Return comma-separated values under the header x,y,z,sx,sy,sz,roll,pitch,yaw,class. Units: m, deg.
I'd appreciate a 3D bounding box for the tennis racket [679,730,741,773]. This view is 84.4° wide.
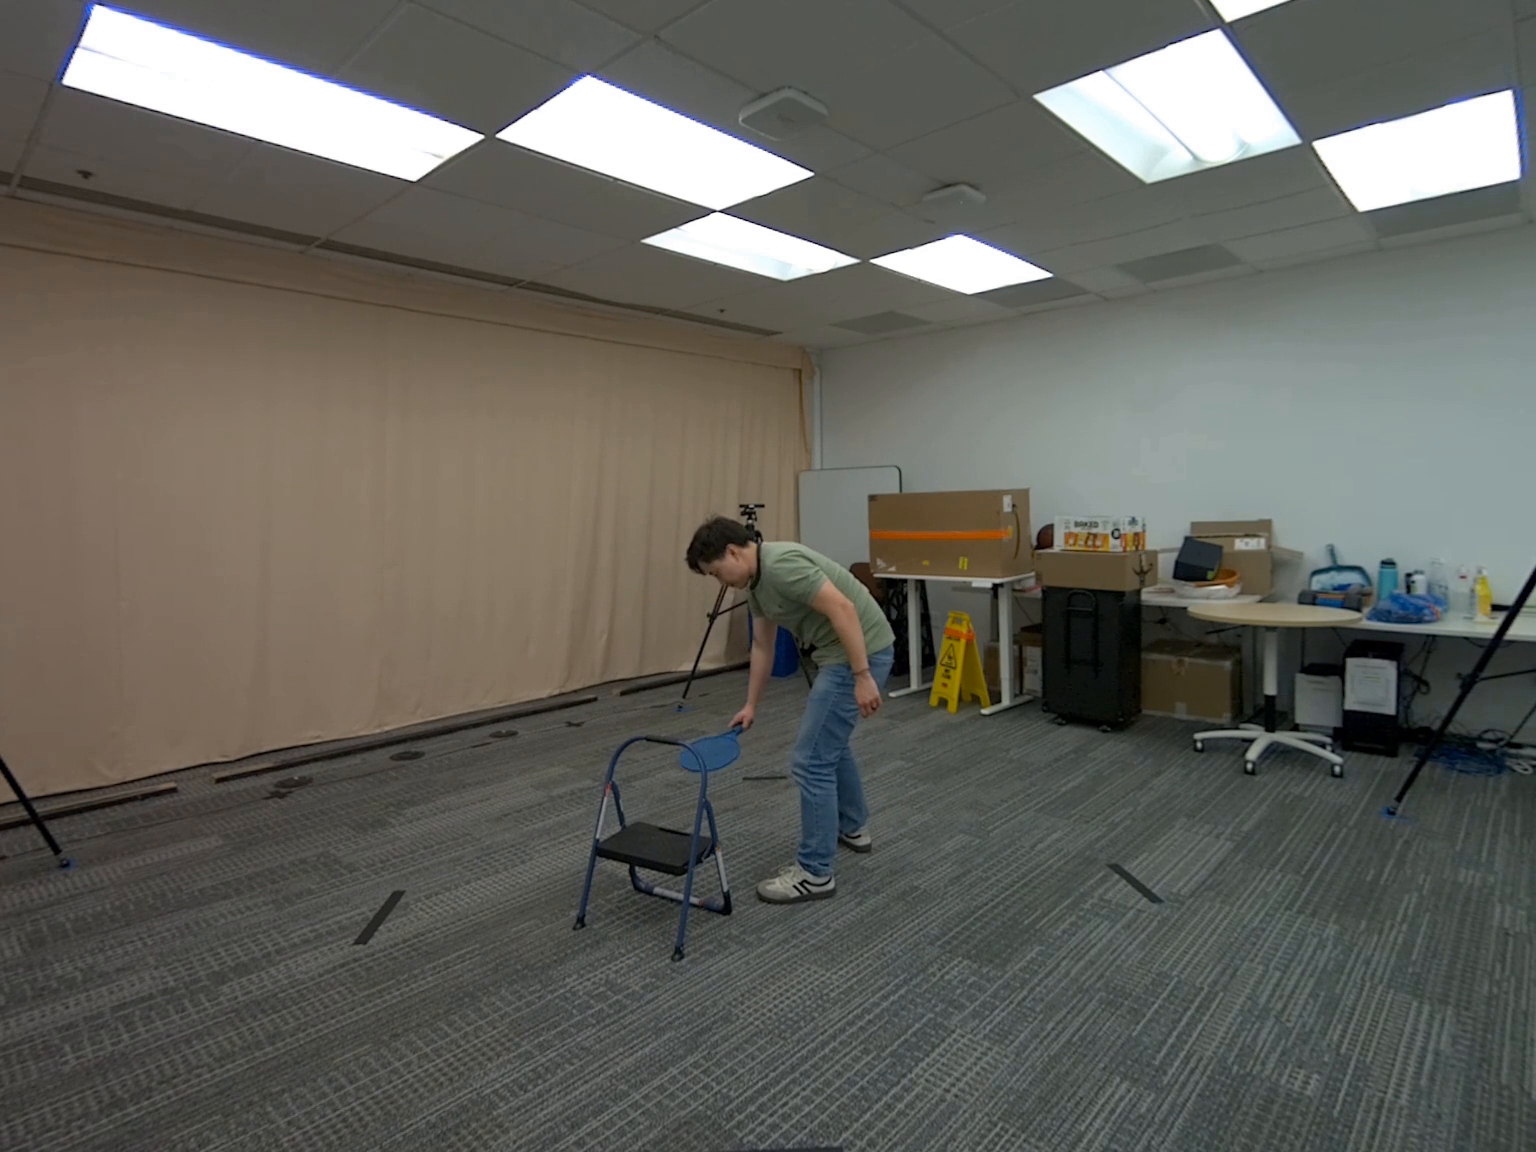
x,y,z,sx,sy,sz,roll,pitch,yaw,class
-0.167,0.663,3.207,0.221,0.031,0.423,10,20,33,tennis racket
